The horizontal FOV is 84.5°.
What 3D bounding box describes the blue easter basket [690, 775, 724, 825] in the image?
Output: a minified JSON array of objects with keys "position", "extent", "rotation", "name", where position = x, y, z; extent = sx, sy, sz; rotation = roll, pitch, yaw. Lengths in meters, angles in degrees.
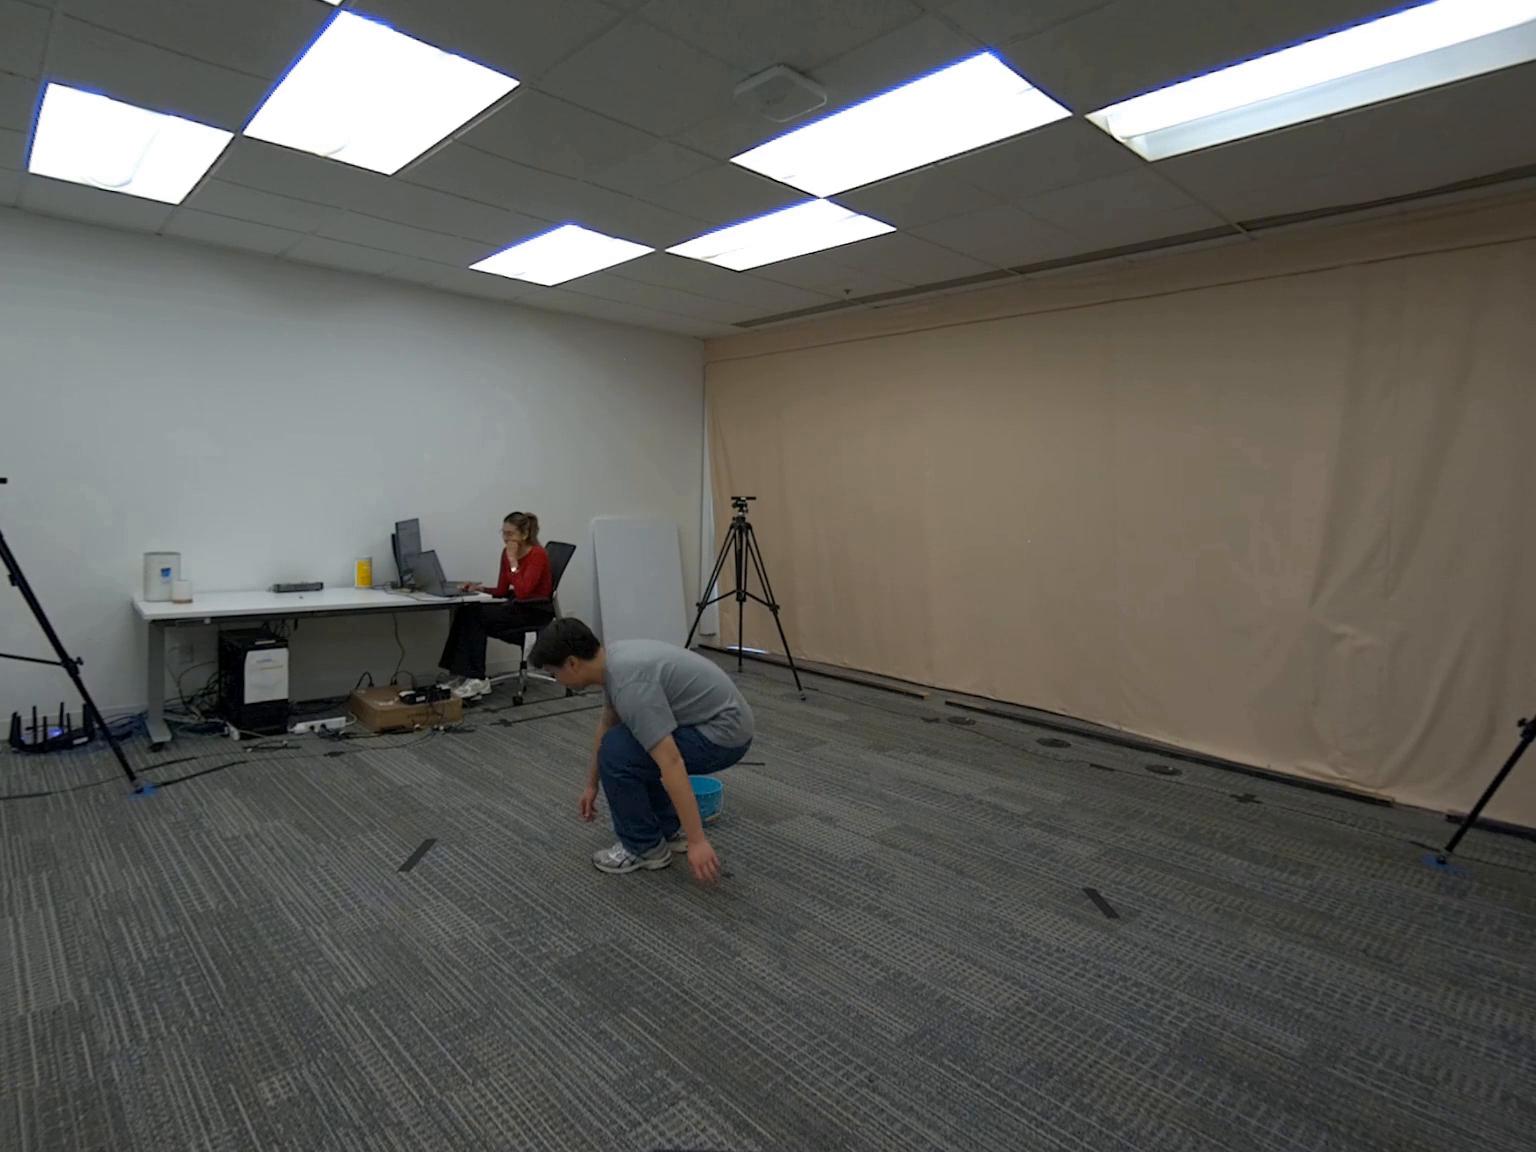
[{"position":[-0.320,0.972,3.636],"extent":[0.243,0.155,0.244],"rotation":[2,4,-1],"name":"blue easter basket"}]
